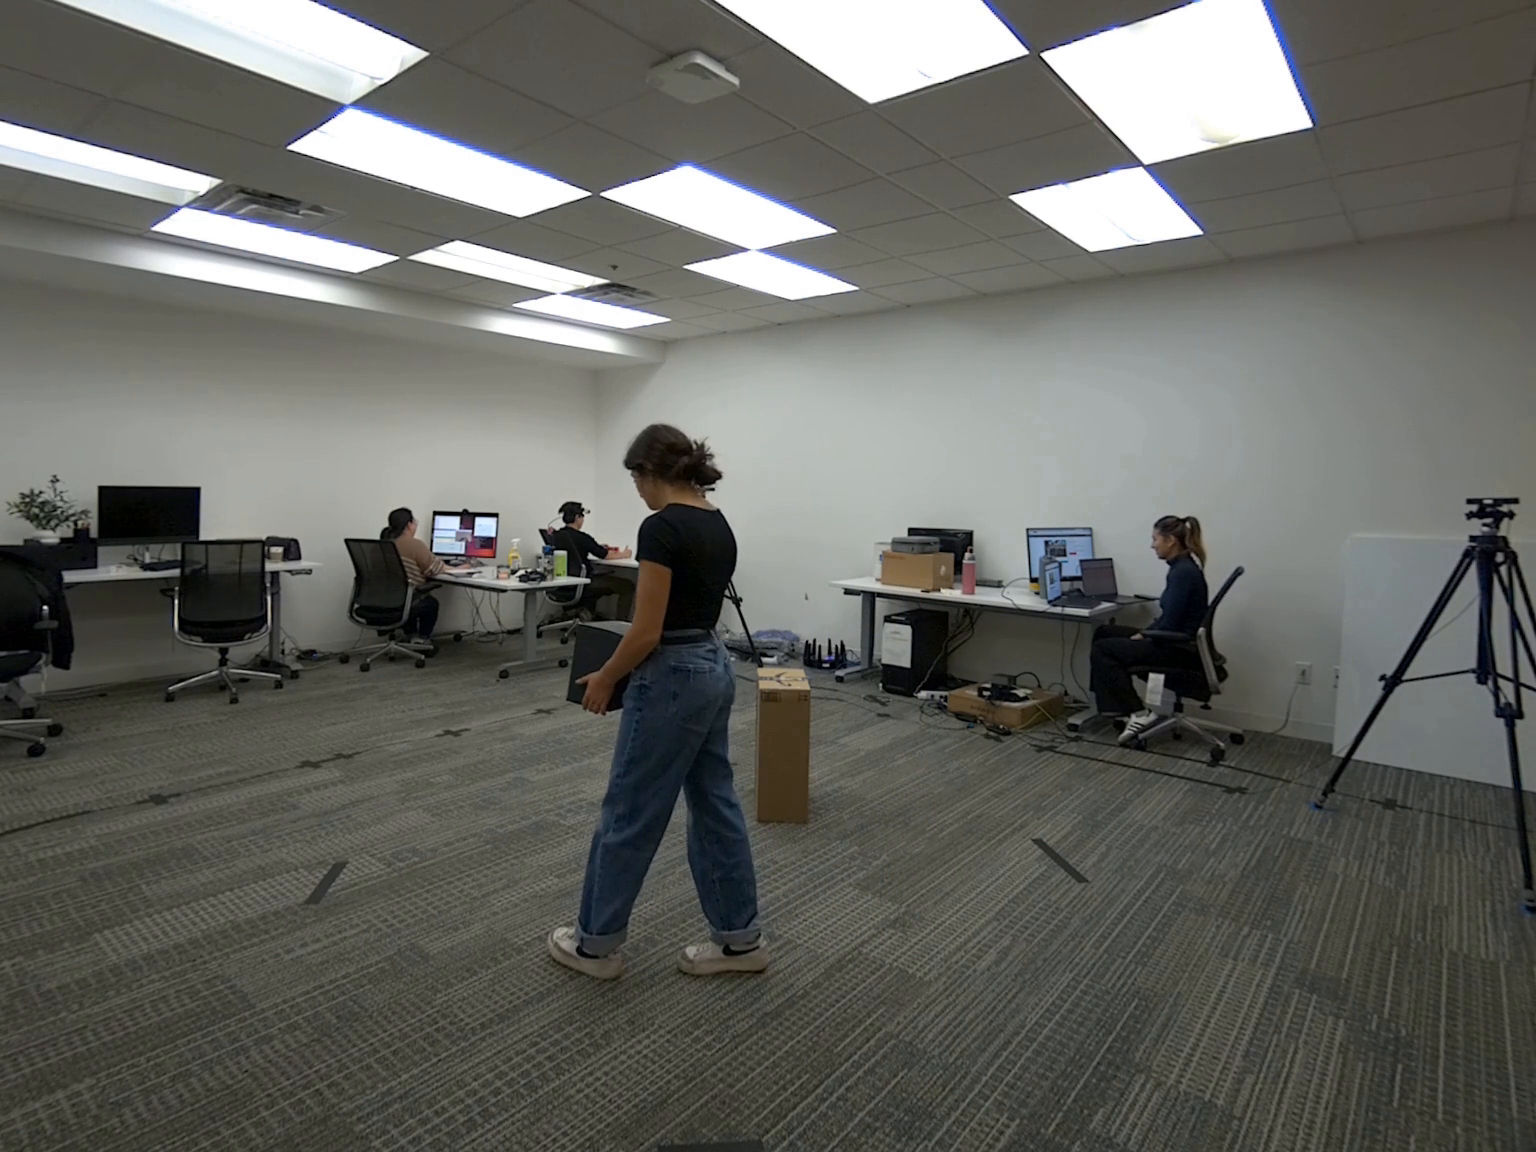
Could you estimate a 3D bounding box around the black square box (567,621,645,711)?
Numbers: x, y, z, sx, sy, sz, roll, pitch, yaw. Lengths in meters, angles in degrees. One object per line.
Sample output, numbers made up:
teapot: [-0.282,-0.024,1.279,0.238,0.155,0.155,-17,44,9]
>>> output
black square box: [-0.474,0.256,2.543,0.160,0.228,0.211,8,2,24]
